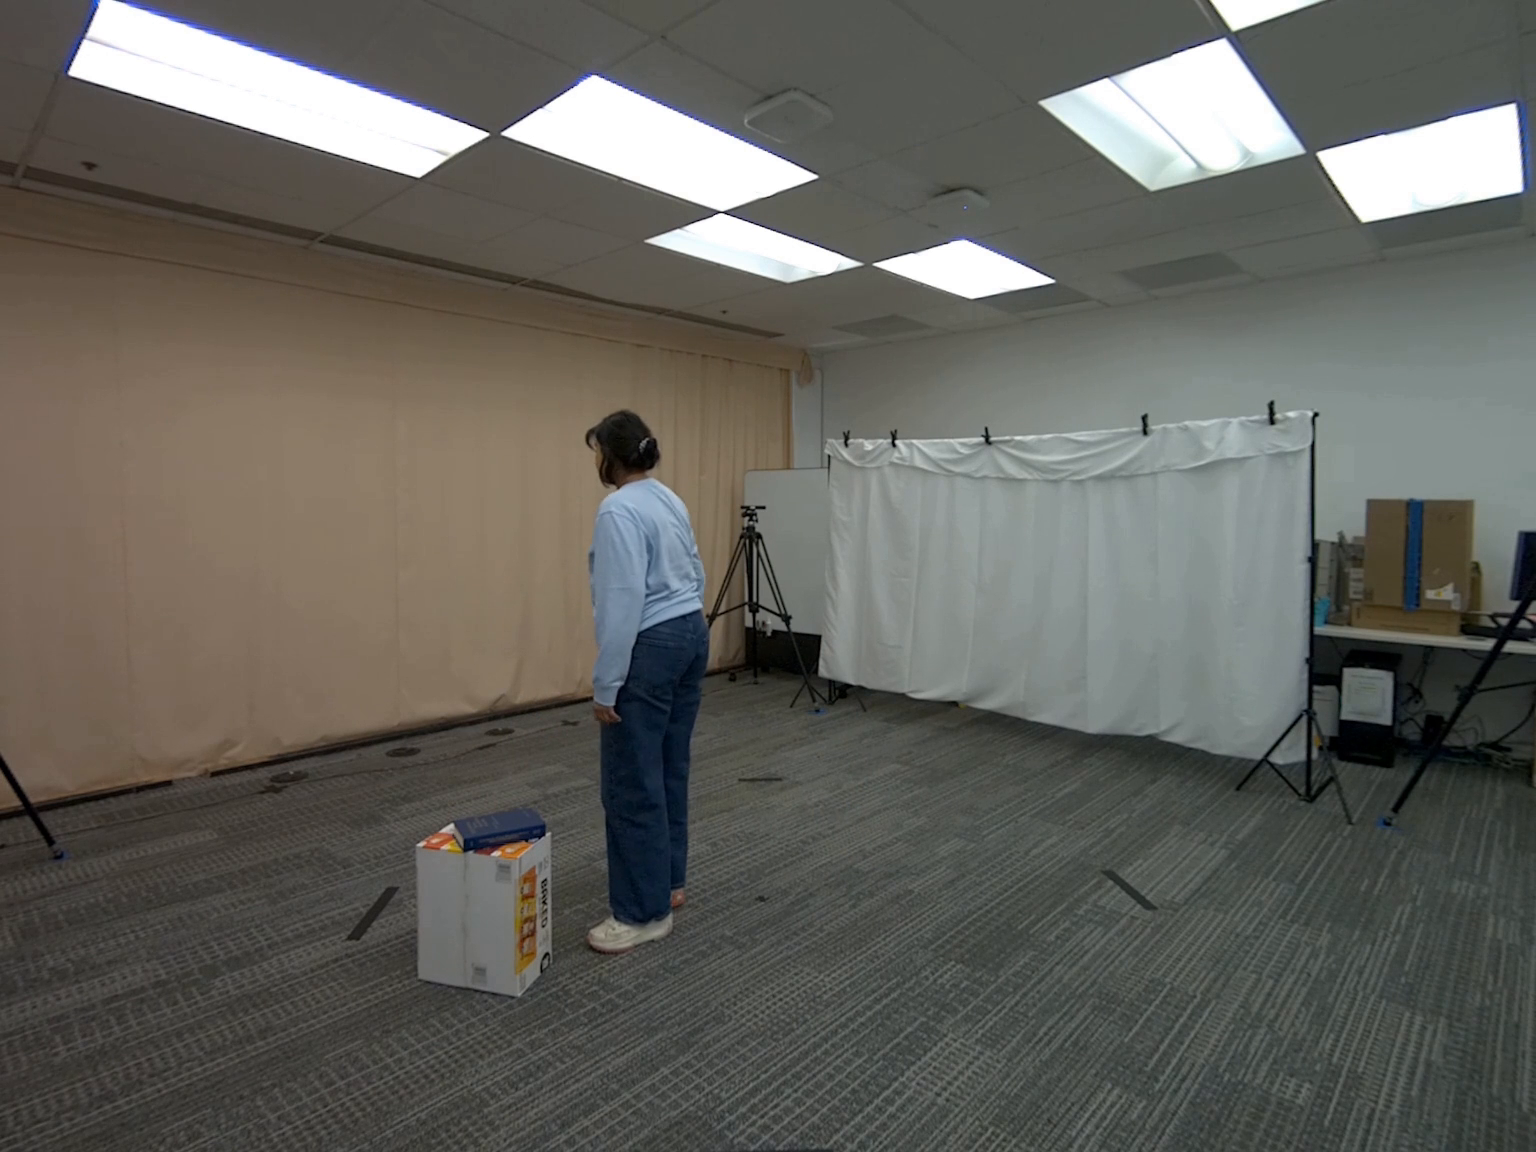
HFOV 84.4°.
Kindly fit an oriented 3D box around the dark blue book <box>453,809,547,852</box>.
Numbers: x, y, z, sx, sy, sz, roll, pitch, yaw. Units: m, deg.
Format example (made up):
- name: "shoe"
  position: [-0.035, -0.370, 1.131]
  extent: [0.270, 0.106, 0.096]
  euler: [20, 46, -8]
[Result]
- name: "dark blue book"
  position: [-0.818, 0.765, 2.529]
  extent: [0.238, 0.045, 0.168]
  euler: [-2, 4, -30]
